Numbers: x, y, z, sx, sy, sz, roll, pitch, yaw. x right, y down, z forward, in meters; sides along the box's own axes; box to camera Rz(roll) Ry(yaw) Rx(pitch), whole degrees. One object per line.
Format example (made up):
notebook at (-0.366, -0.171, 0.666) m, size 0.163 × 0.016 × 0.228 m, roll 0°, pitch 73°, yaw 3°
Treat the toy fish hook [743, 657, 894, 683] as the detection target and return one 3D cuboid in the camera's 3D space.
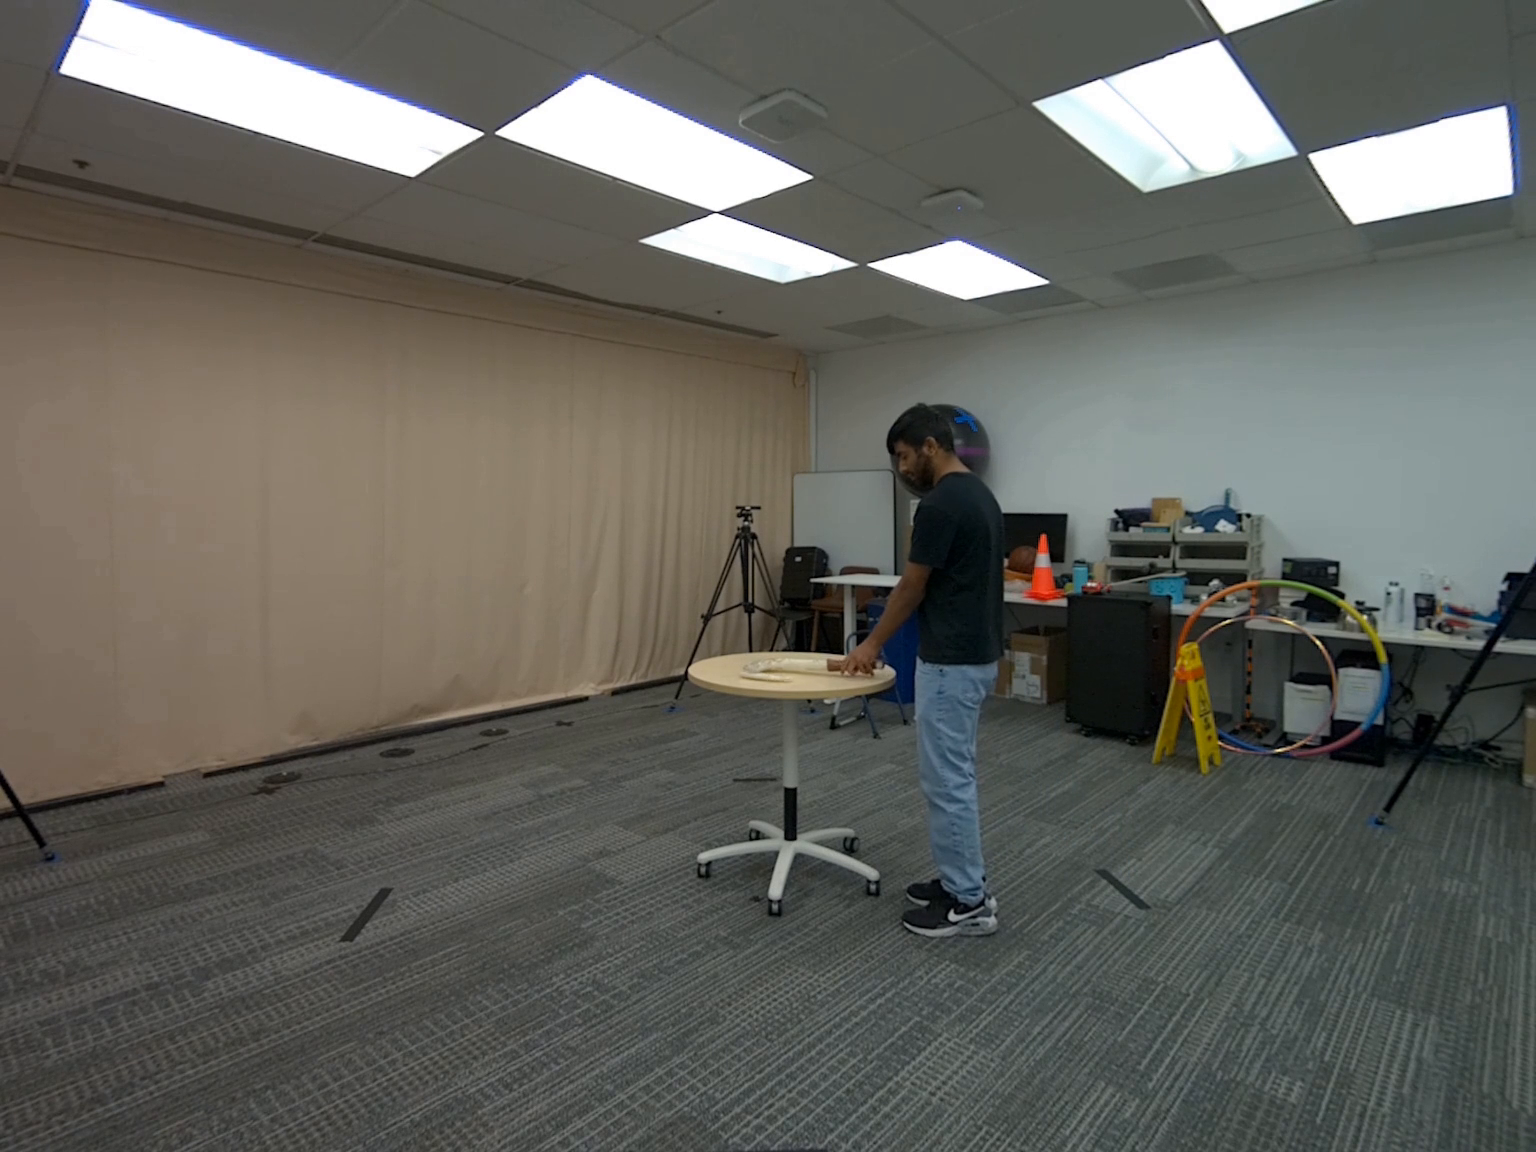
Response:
toy fish hook at (0.163, 0.335, 2.971) m, size 0.511 × 0.048 × 0.224 m, roll -3°, pitch 13°, yaw 9°
